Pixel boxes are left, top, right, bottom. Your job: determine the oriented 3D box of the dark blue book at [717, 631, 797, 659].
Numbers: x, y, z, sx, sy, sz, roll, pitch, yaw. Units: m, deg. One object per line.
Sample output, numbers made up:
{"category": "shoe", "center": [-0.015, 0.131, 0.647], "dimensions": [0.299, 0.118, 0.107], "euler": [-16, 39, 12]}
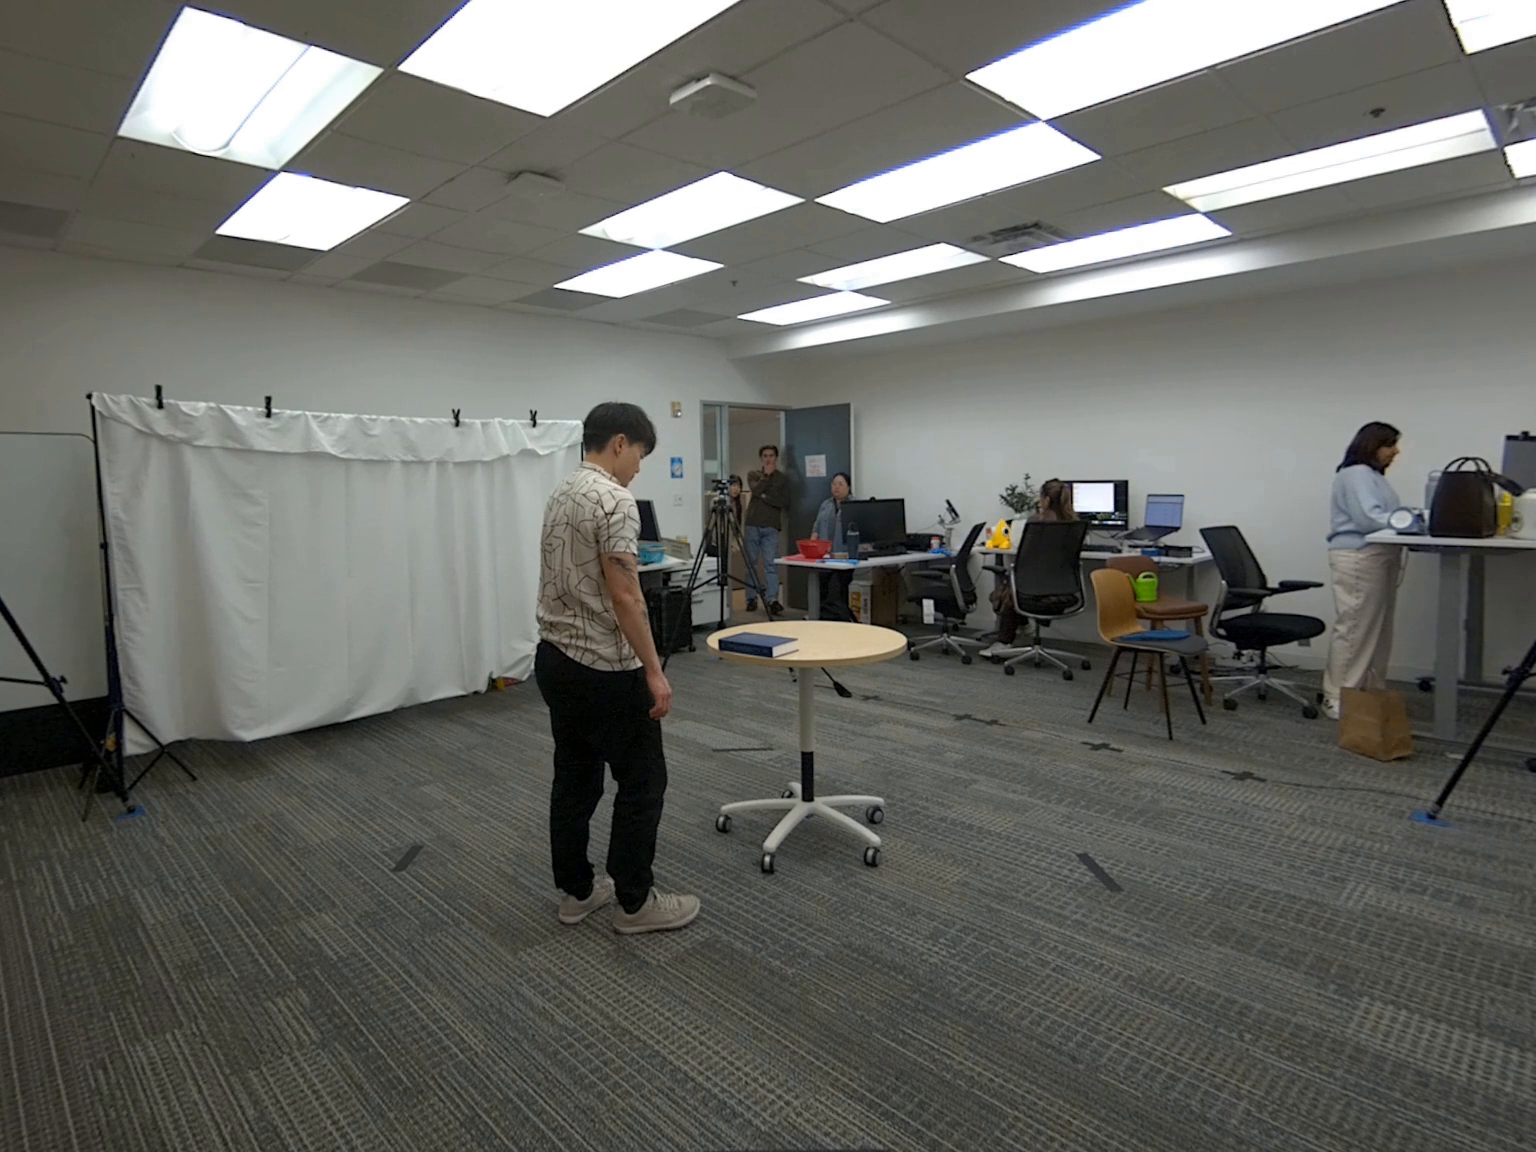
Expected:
{"category": "dark blue book", "center": [-0.033, 0.249, 3.090], "dimensions": [0.252, 0.045, 0.159], "euler": [4, 9, 38]}
